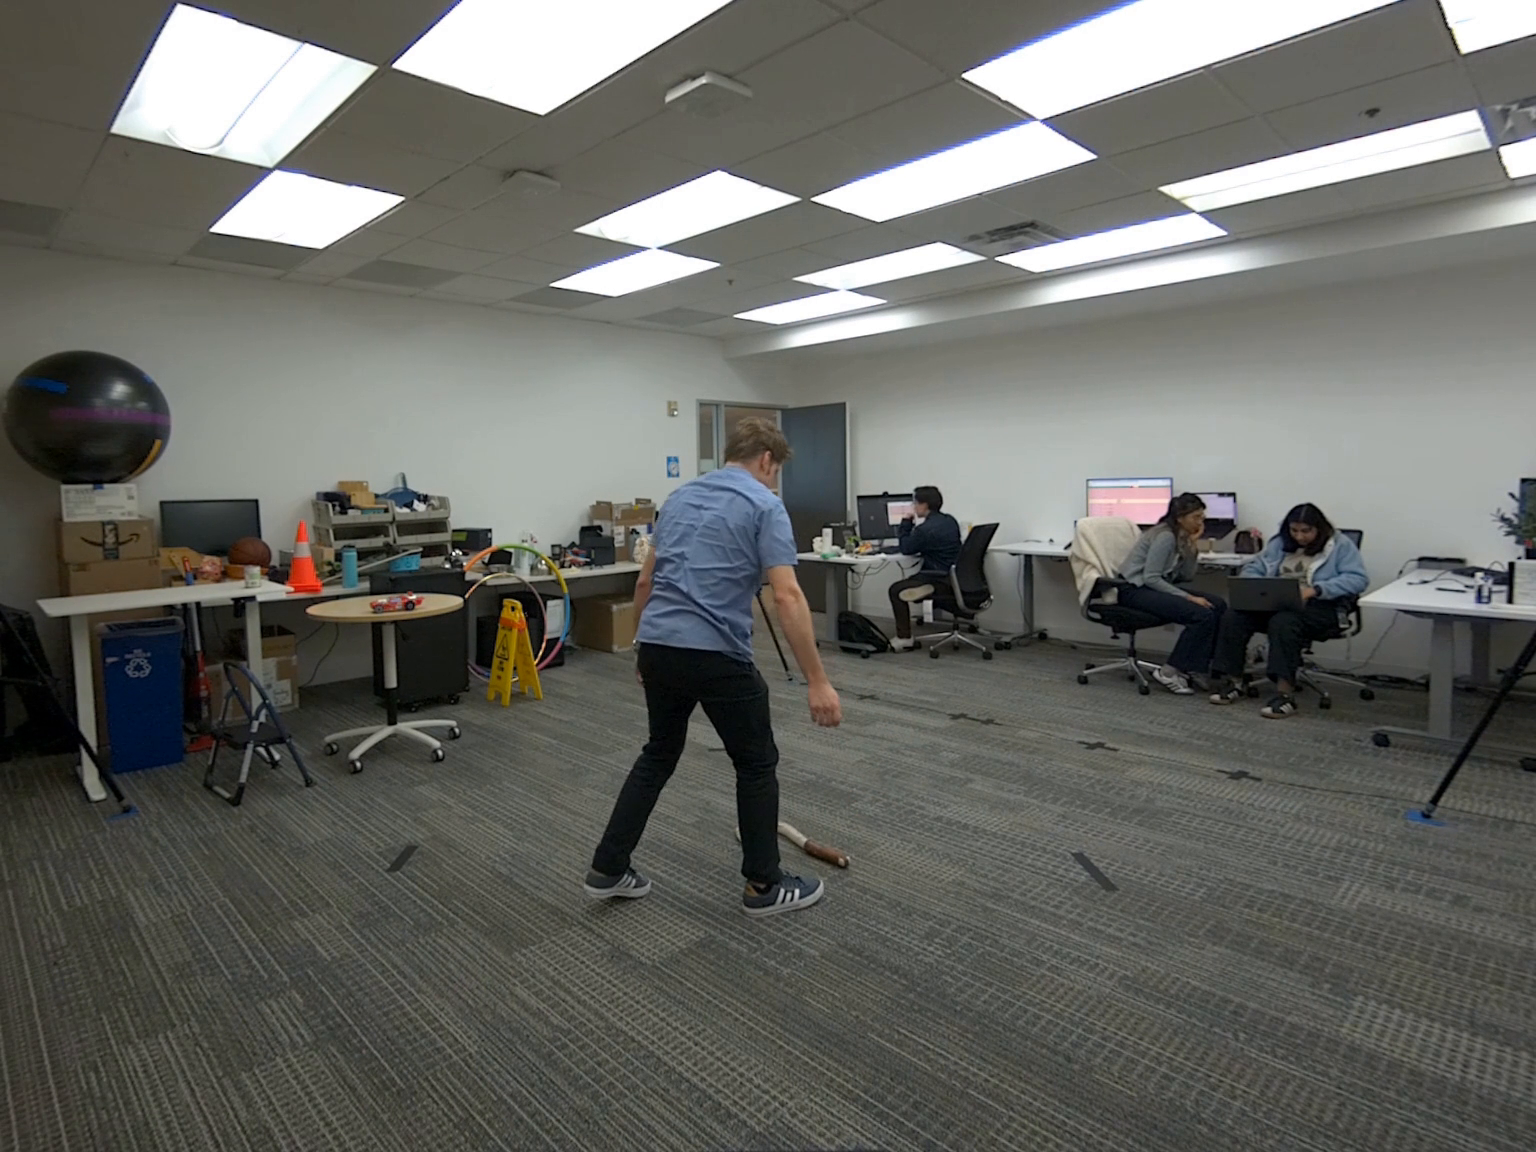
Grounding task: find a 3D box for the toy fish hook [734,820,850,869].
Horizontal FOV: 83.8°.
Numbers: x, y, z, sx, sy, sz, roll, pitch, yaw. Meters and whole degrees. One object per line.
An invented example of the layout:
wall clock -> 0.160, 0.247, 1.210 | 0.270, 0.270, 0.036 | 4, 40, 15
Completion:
toy fish hook -> 0.081, 1.015, 3.205 | 0.220, 0.048, 0.522 | -16, 14, -39
